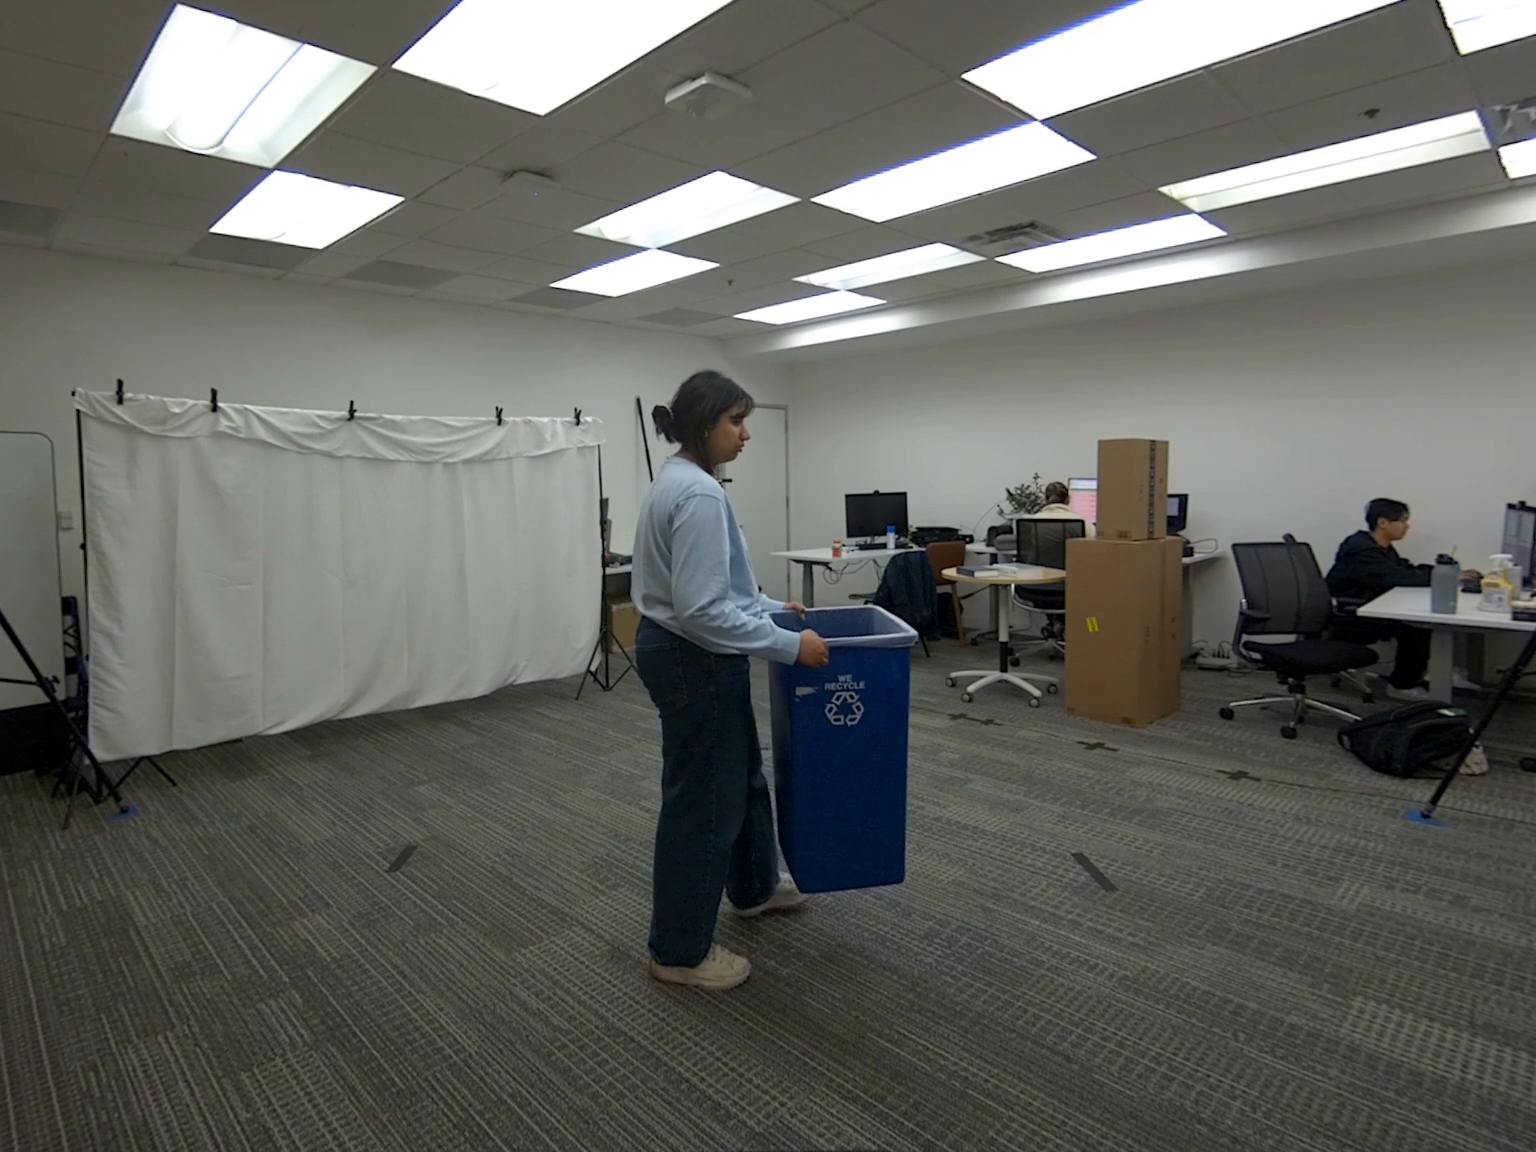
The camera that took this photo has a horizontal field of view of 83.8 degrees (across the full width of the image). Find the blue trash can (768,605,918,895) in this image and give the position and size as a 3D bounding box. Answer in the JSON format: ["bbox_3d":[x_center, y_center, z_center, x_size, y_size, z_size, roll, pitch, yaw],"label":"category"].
[{"bbox_3d":[0.194,0.484,2.417,0.371,0.707,0.384,-3,10,-9],"label":"blue trash can"}]
